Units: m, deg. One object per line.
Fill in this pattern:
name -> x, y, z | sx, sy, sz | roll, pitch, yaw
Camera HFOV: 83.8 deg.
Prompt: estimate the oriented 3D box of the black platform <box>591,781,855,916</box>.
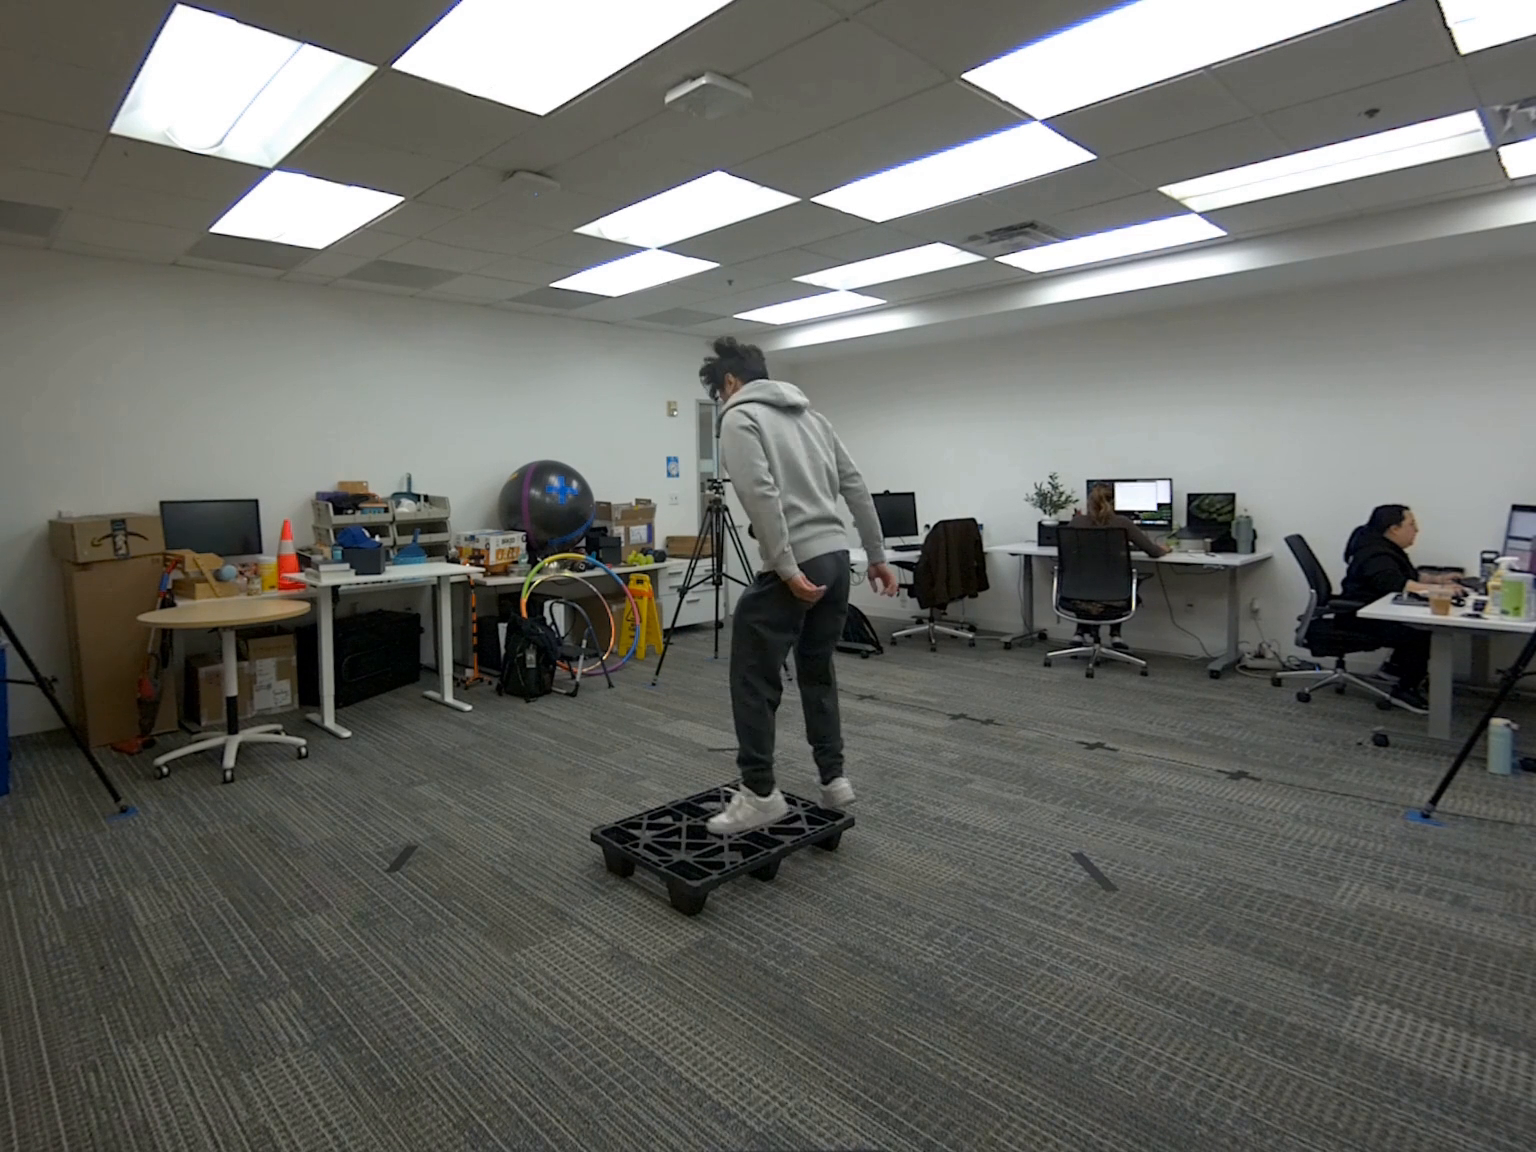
black platform -> -0.151, 0.977, 3.148 | 0.785, 0.142, 0.624 | -7, 10, -44
